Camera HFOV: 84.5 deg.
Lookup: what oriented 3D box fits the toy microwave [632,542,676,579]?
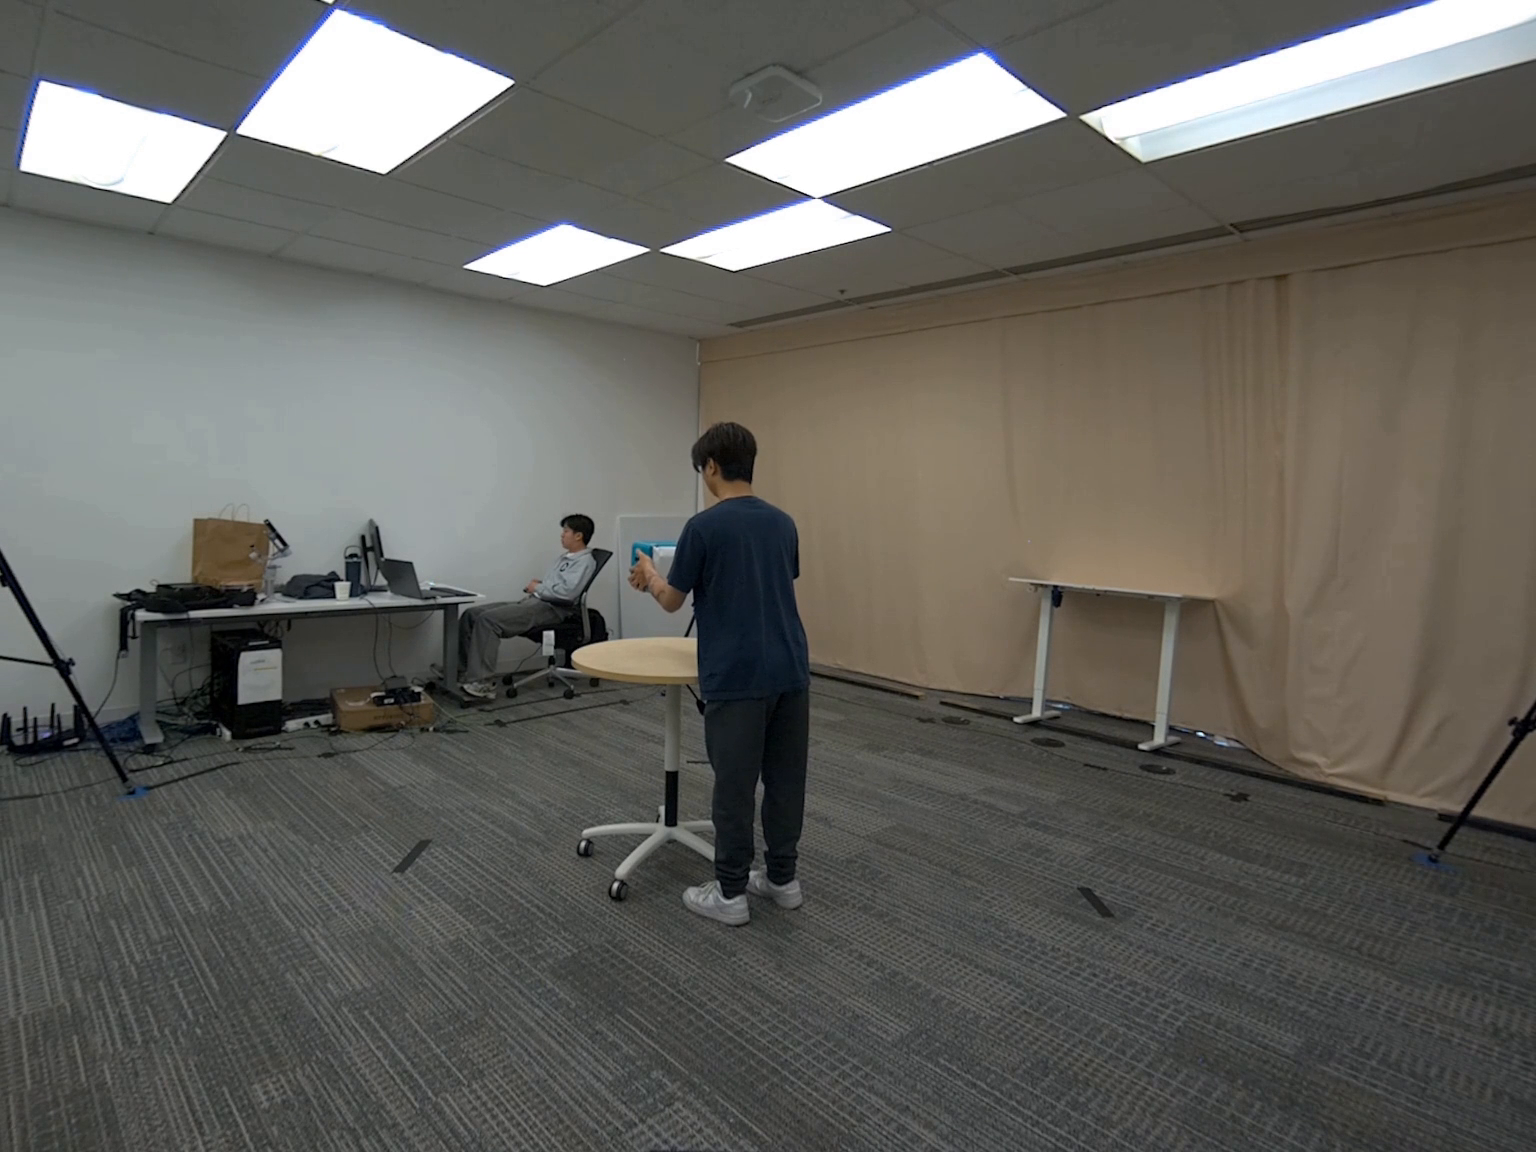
[{"bbox_3d":[-0.374,-0.035,3.175,0.280,0.183,0.156,-2,7,-39],"label":"toy microwave"}]
